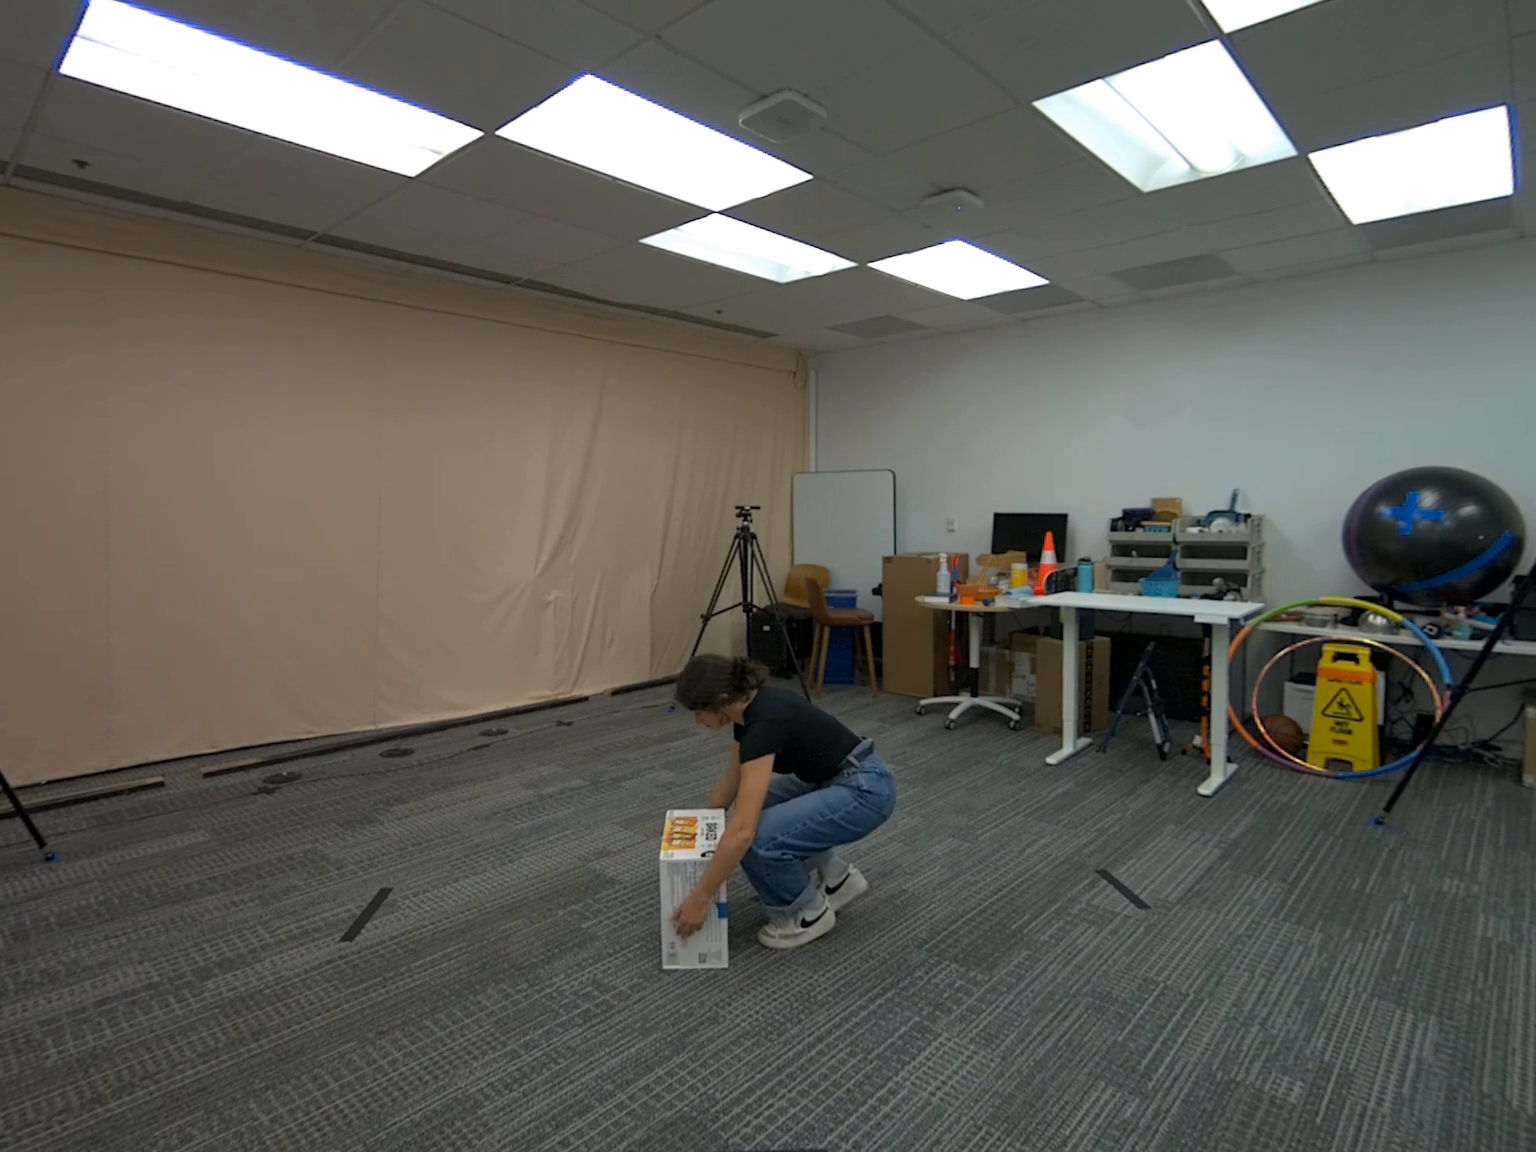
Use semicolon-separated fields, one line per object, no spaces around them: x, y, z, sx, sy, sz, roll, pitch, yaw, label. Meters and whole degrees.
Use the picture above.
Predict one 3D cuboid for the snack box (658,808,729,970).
-0.238;0.998;2.733;0.205;0.339;0.406;-2;4;-3;snack box
